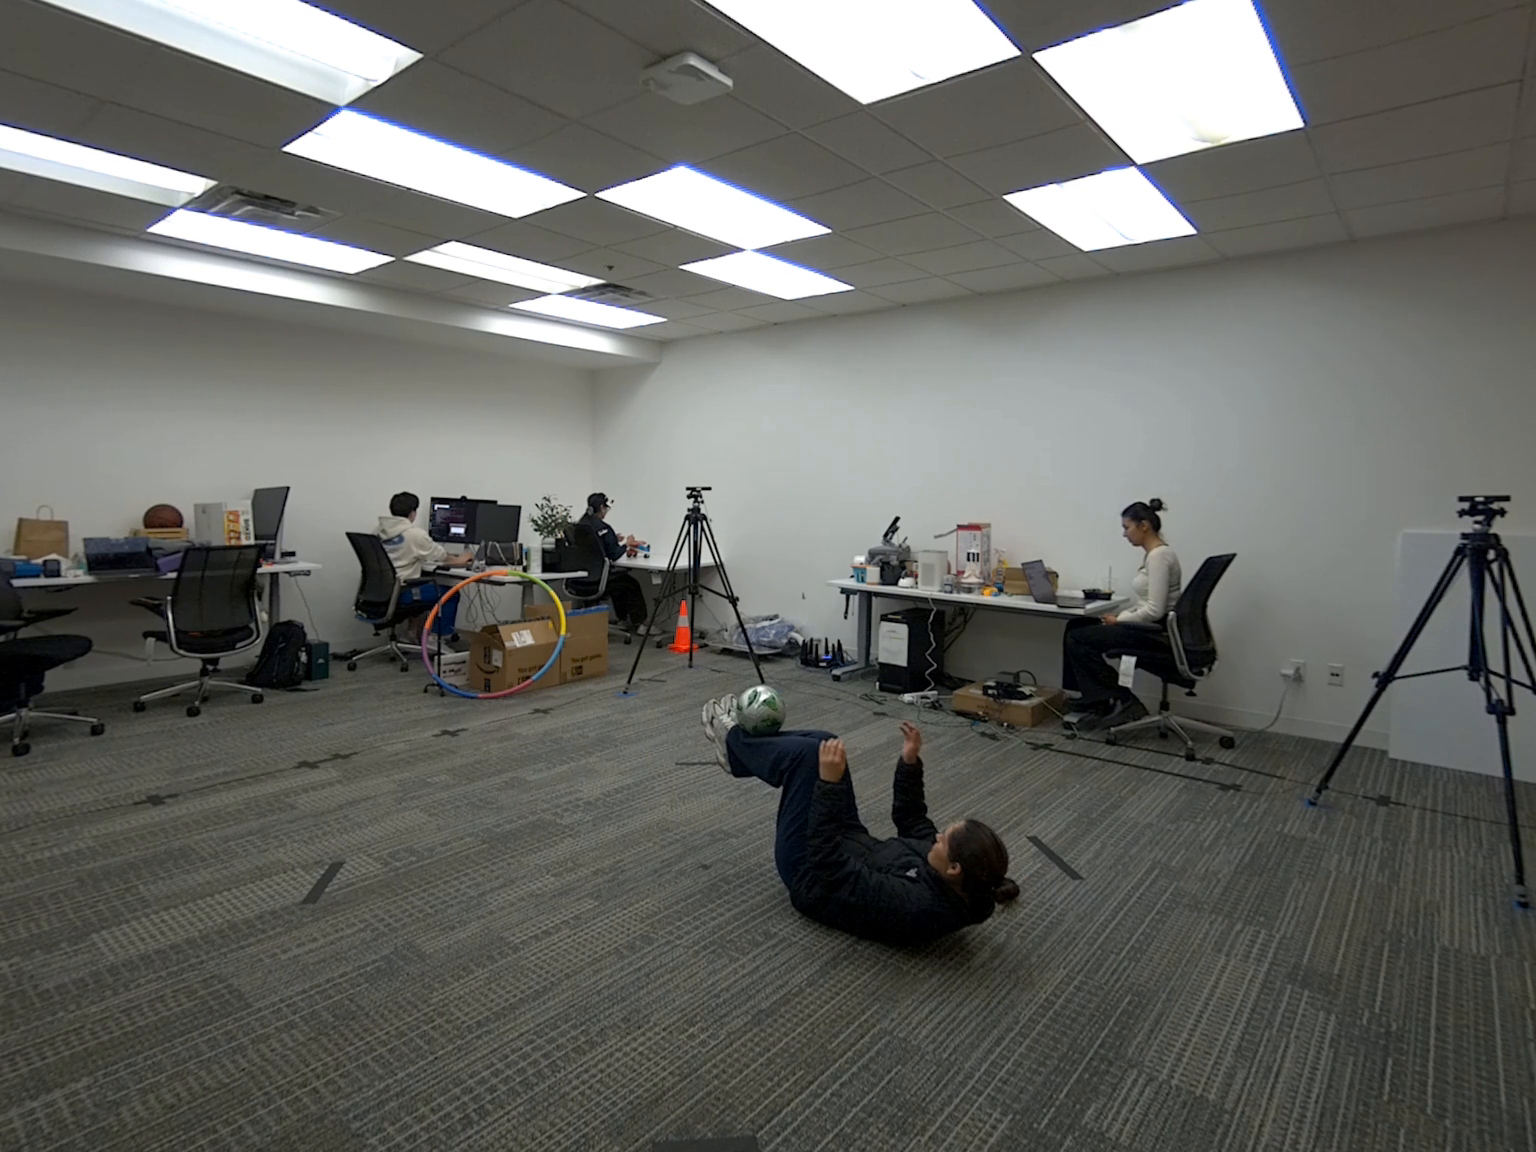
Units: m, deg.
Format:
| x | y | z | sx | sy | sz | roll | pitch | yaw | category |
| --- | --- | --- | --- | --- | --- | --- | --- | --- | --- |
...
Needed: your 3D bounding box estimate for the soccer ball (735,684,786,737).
| x | y | z | sx | sy | sz | roll | pitch | yaw | category |
| --- | --- | --- | --- | --- | --- | --- | --- | --- | --- |
| -0.038 | 0.493 | 3.123 | 0.187 | 0.187 | 0.188 | -3 | 3 | -2 | soccer ball |
